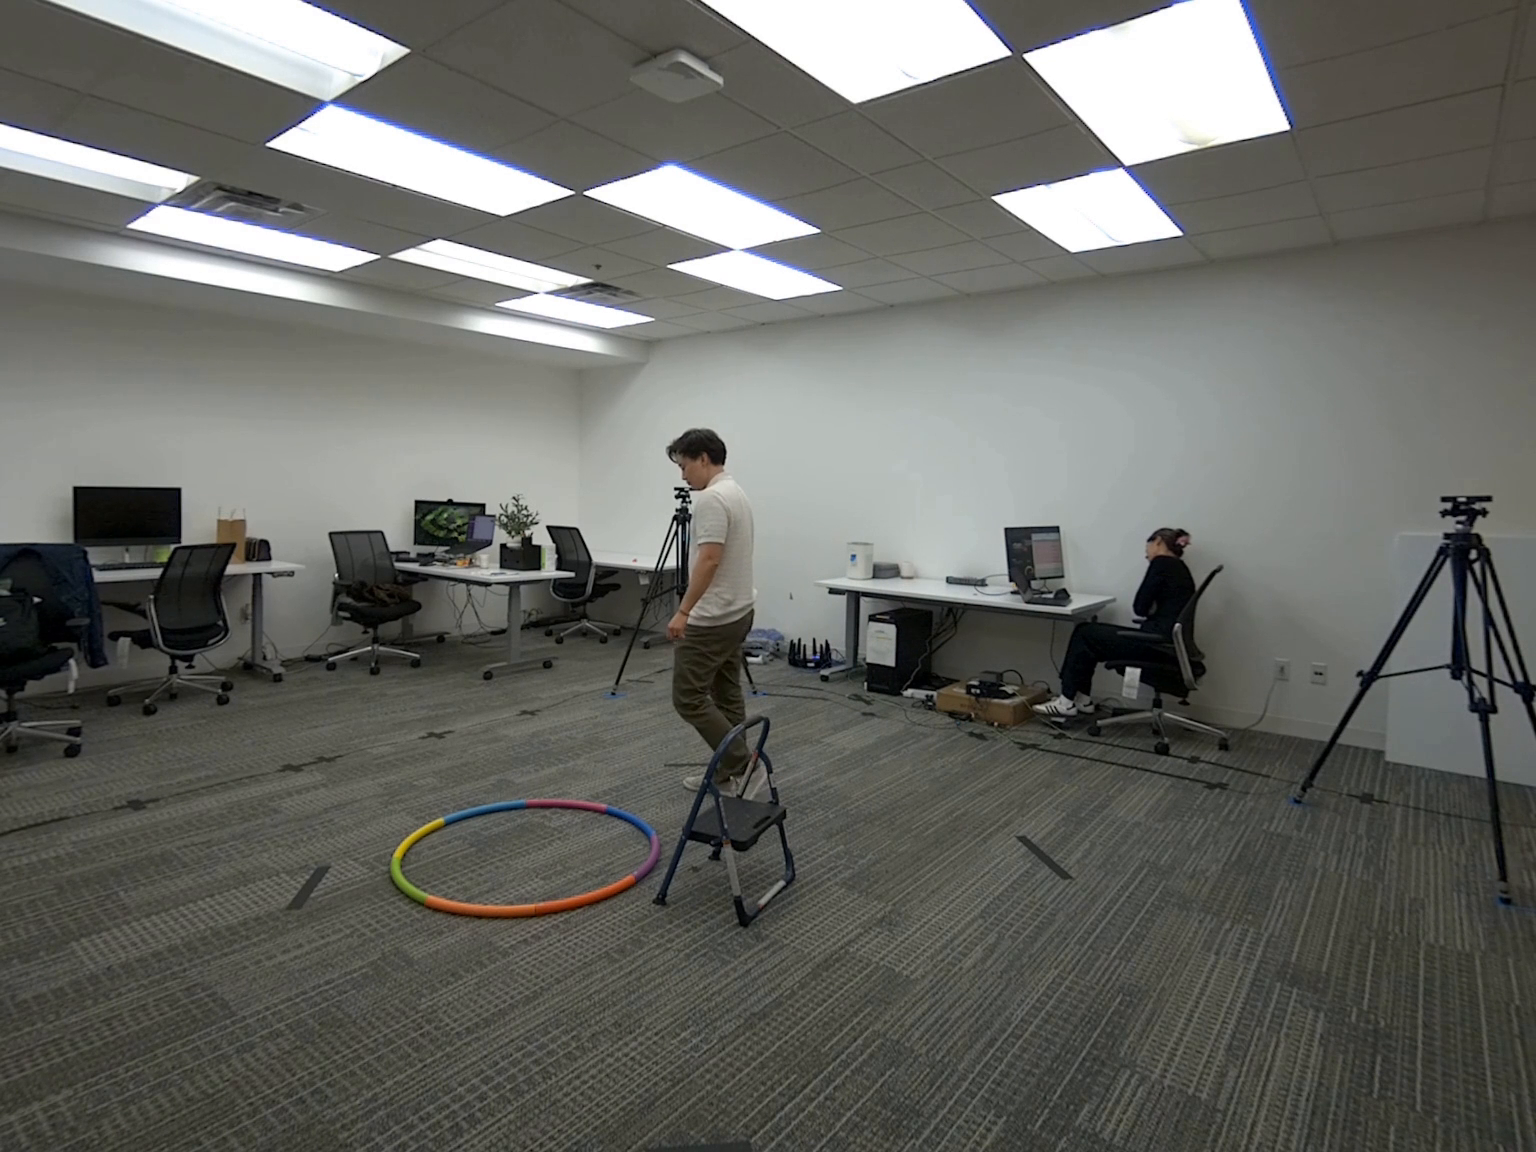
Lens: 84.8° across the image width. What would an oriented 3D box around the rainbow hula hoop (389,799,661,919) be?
[{"bbox_3d":[-0.909,1.016,3.209,0.978,0.035,0.984,1,5,-2],"label":"rainbow hula hoop"}]
